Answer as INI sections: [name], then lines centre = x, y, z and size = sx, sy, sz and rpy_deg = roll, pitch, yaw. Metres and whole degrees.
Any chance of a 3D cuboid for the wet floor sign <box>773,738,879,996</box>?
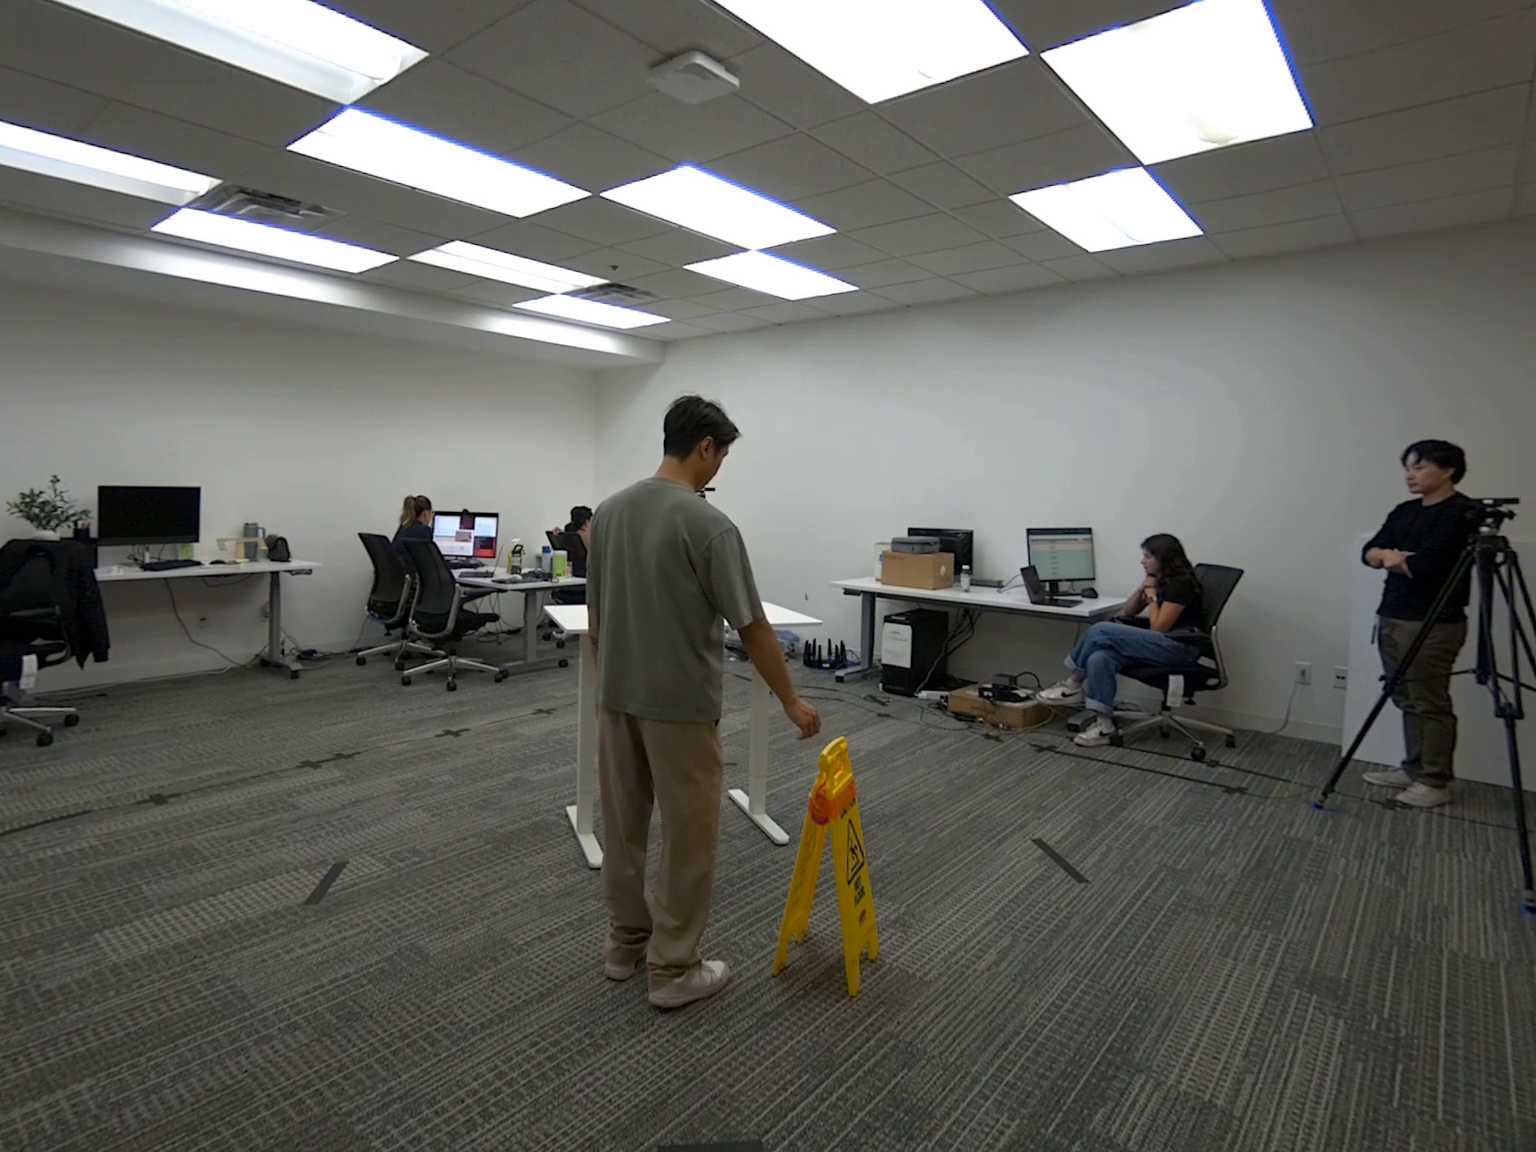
[wet floor sign]
centre = 0.177, 0.813, 2.485
size = 0.296, 0.644, 0.277
rpy_deg = 3, 4, 21
